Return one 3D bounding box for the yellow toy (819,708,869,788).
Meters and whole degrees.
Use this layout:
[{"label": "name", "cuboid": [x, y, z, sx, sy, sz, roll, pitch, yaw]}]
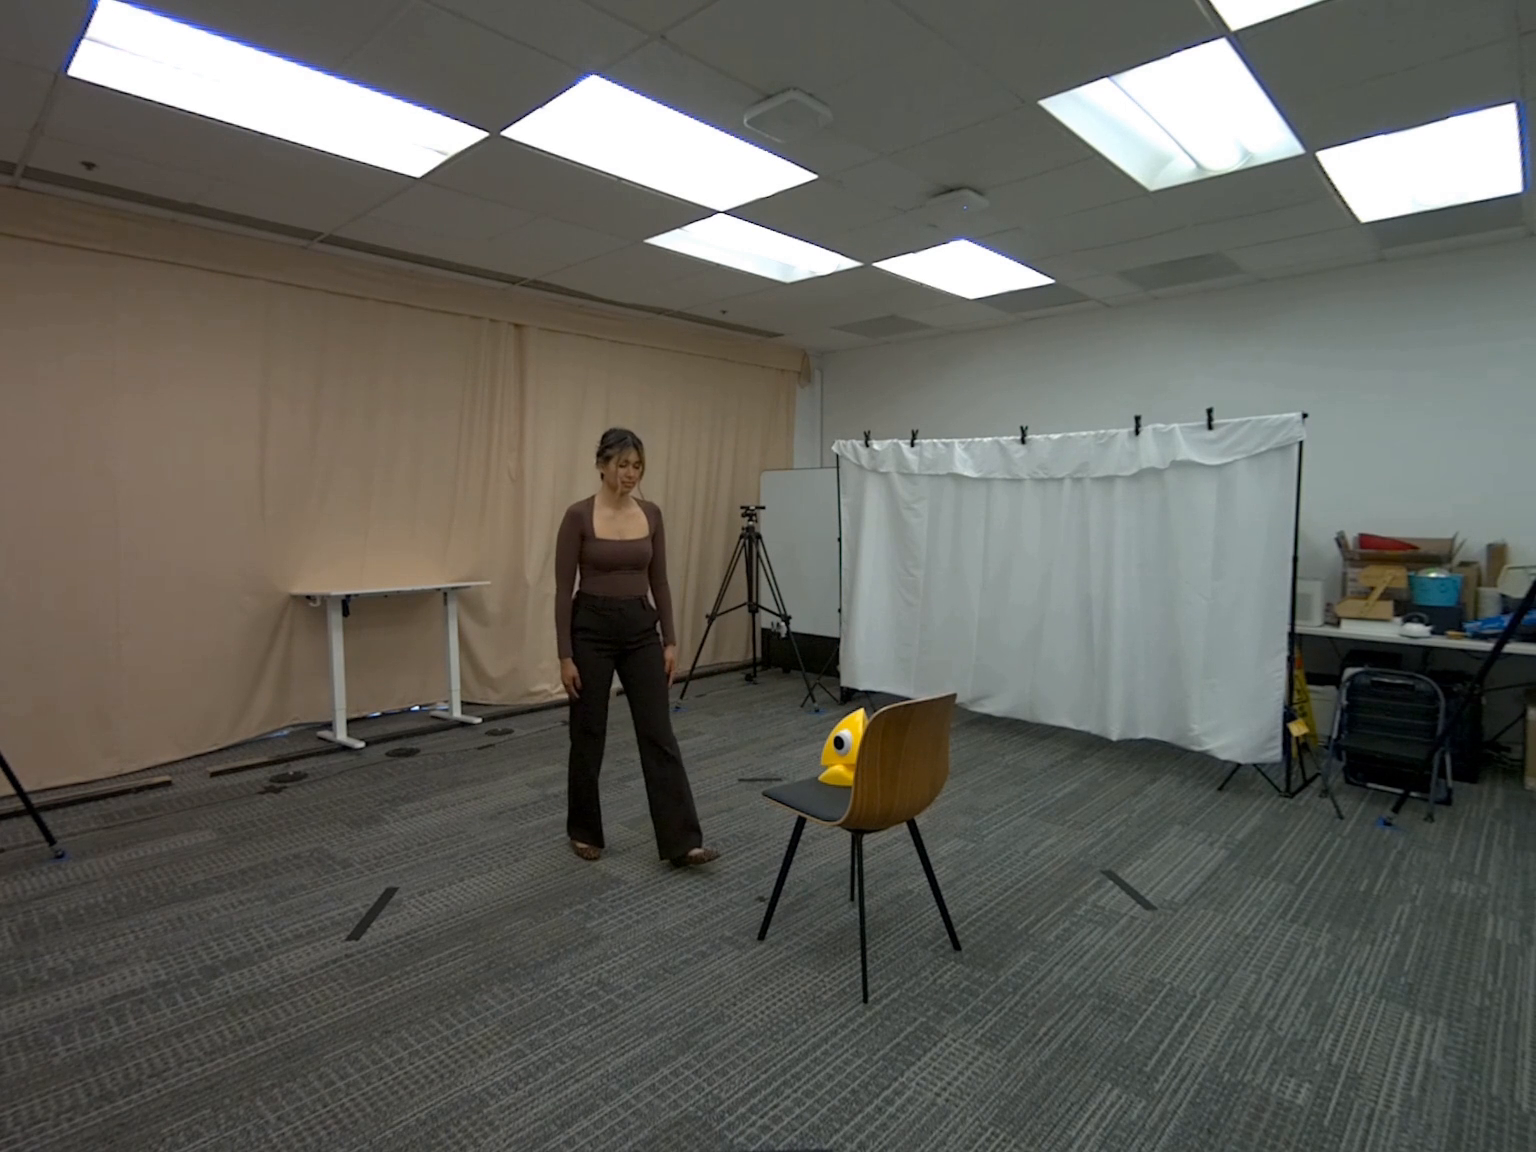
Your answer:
[{"label": "yellow toy", "cuboid": [0.271, 0.558, 2.823, 0.197, 0.229, 0.201, -1, 8, 19]}]
